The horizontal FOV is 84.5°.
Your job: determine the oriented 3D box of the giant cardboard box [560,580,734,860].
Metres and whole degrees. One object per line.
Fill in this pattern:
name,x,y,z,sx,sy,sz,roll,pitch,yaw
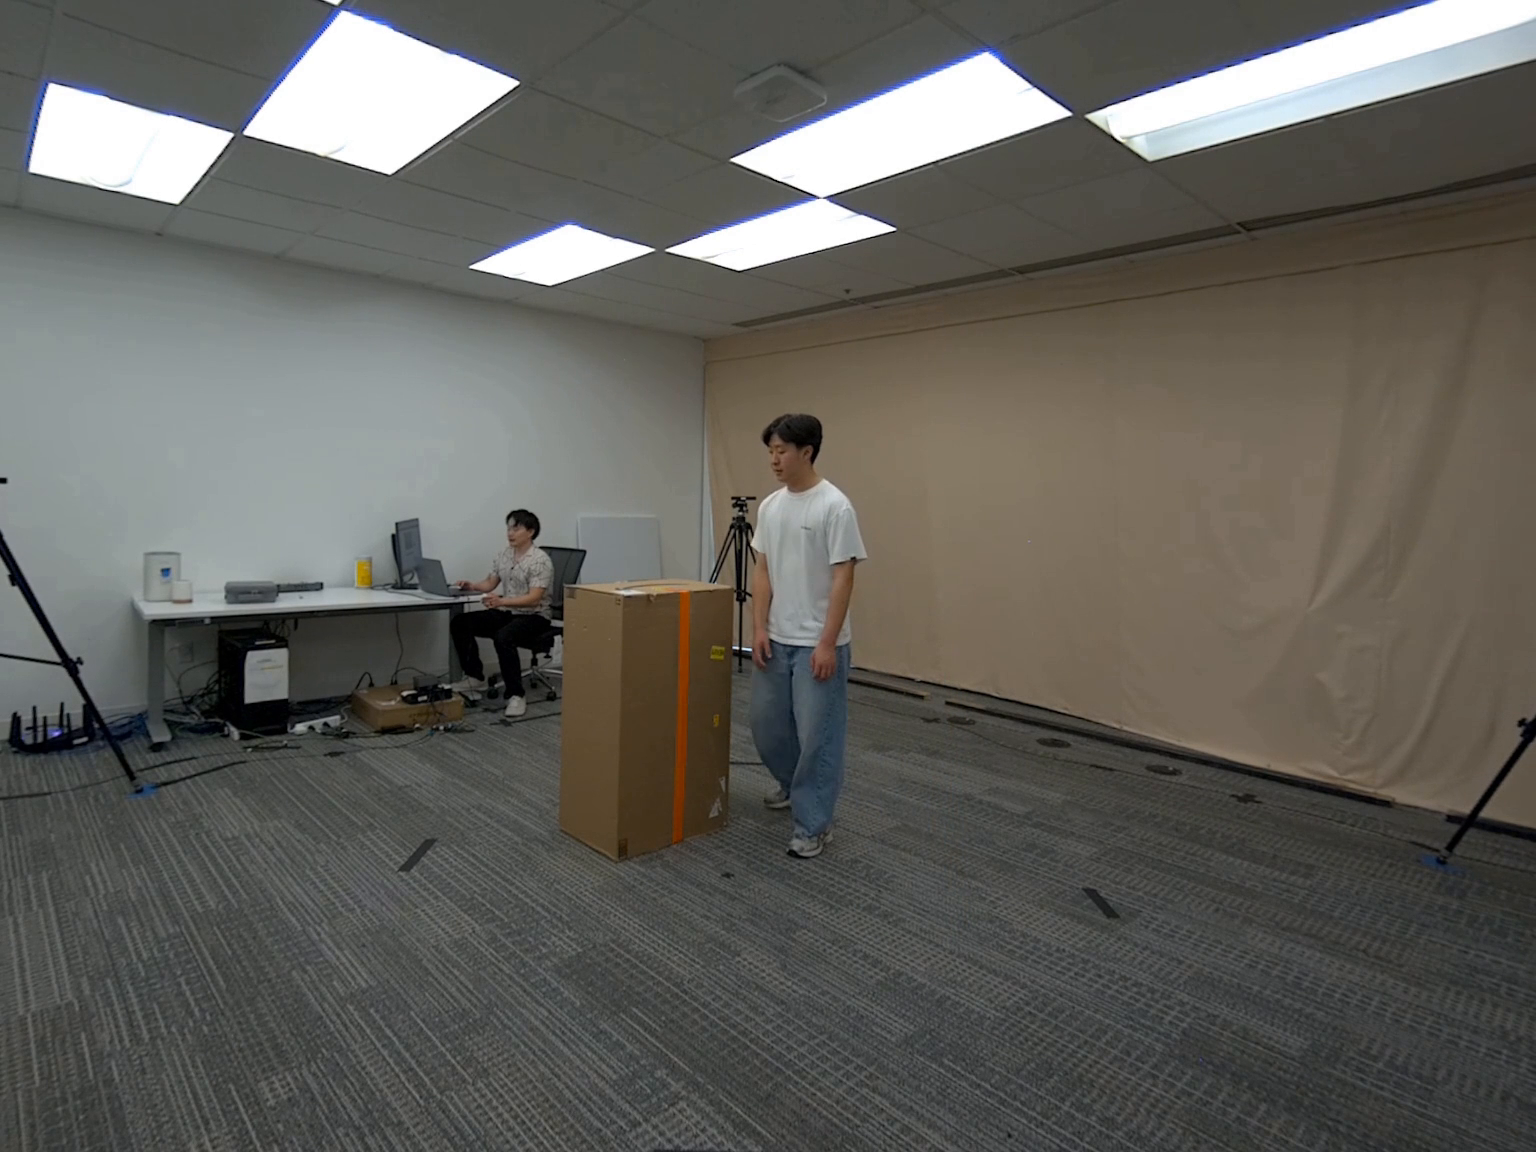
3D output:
giant cardboard box,-0.509,0.554,3.509,0.564,1.023,0.437,-2,5,-44
